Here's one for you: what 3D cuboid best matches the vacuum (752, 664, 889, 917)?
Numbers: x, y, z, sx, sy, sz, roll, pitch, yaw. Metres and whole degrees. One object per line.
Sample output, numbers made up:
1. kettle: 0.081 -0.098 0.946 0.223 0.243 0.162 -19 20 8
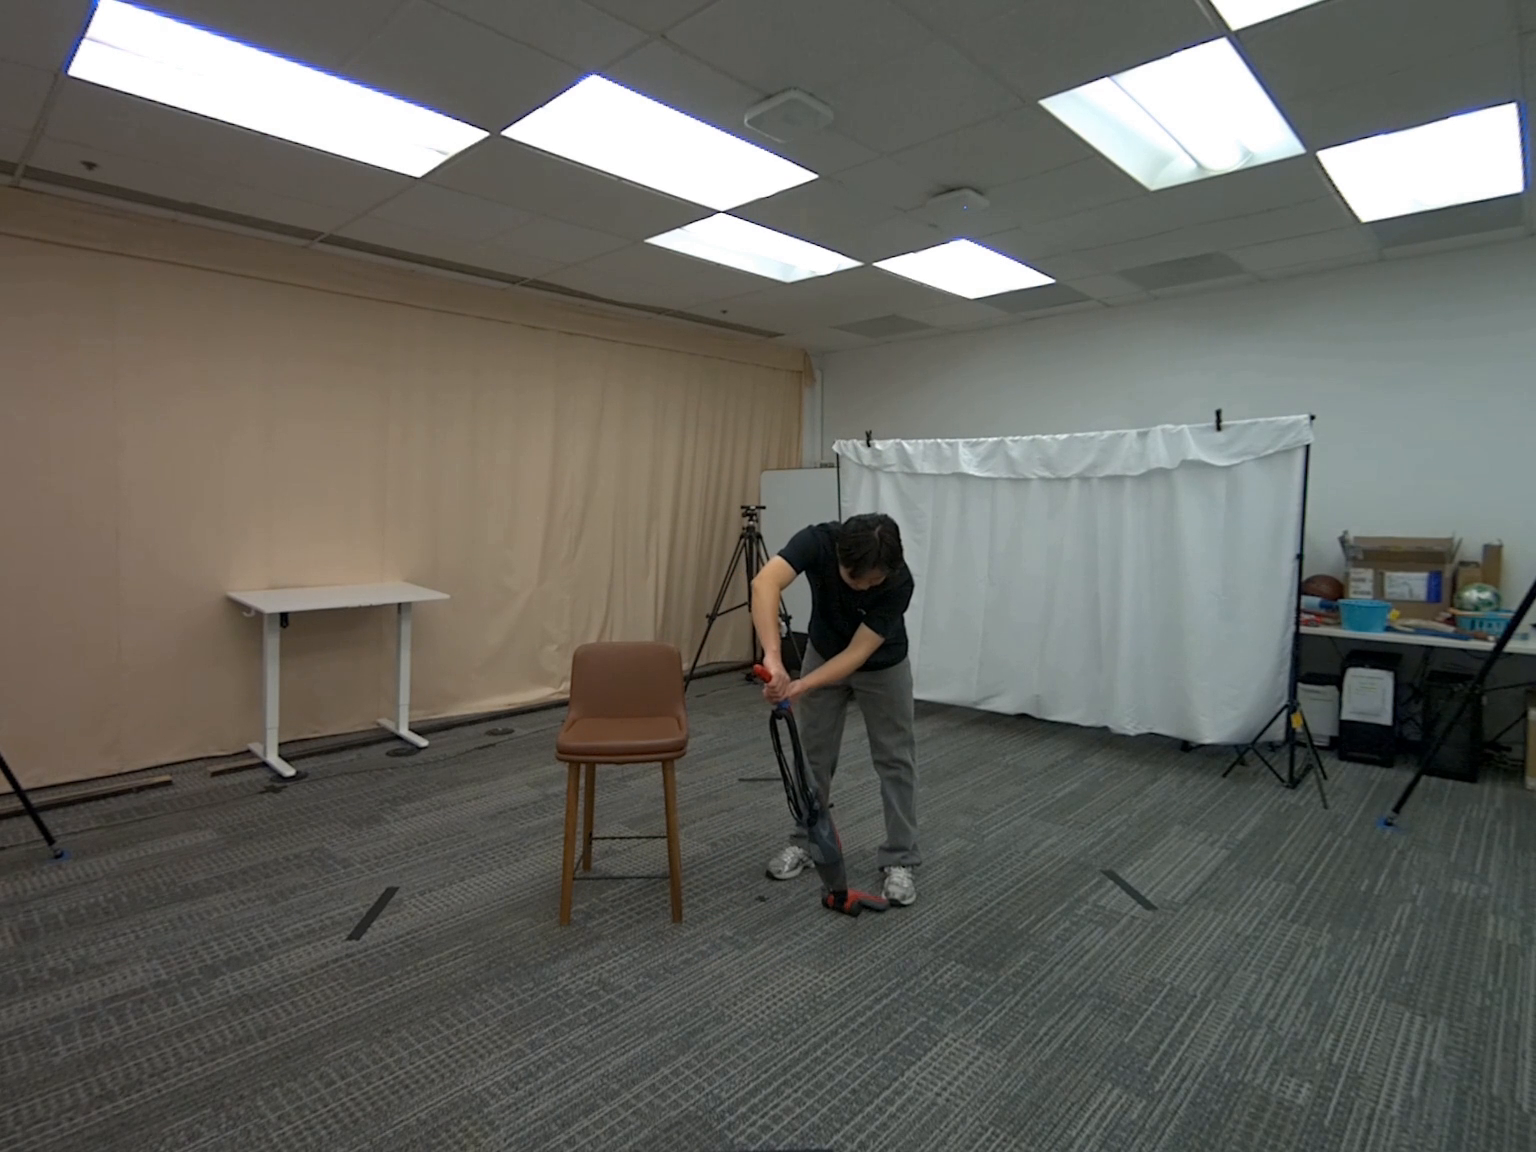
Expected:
1. vacuum: 0.128 0.714 2.705 0.260 1.026 0.143 0 33 34
